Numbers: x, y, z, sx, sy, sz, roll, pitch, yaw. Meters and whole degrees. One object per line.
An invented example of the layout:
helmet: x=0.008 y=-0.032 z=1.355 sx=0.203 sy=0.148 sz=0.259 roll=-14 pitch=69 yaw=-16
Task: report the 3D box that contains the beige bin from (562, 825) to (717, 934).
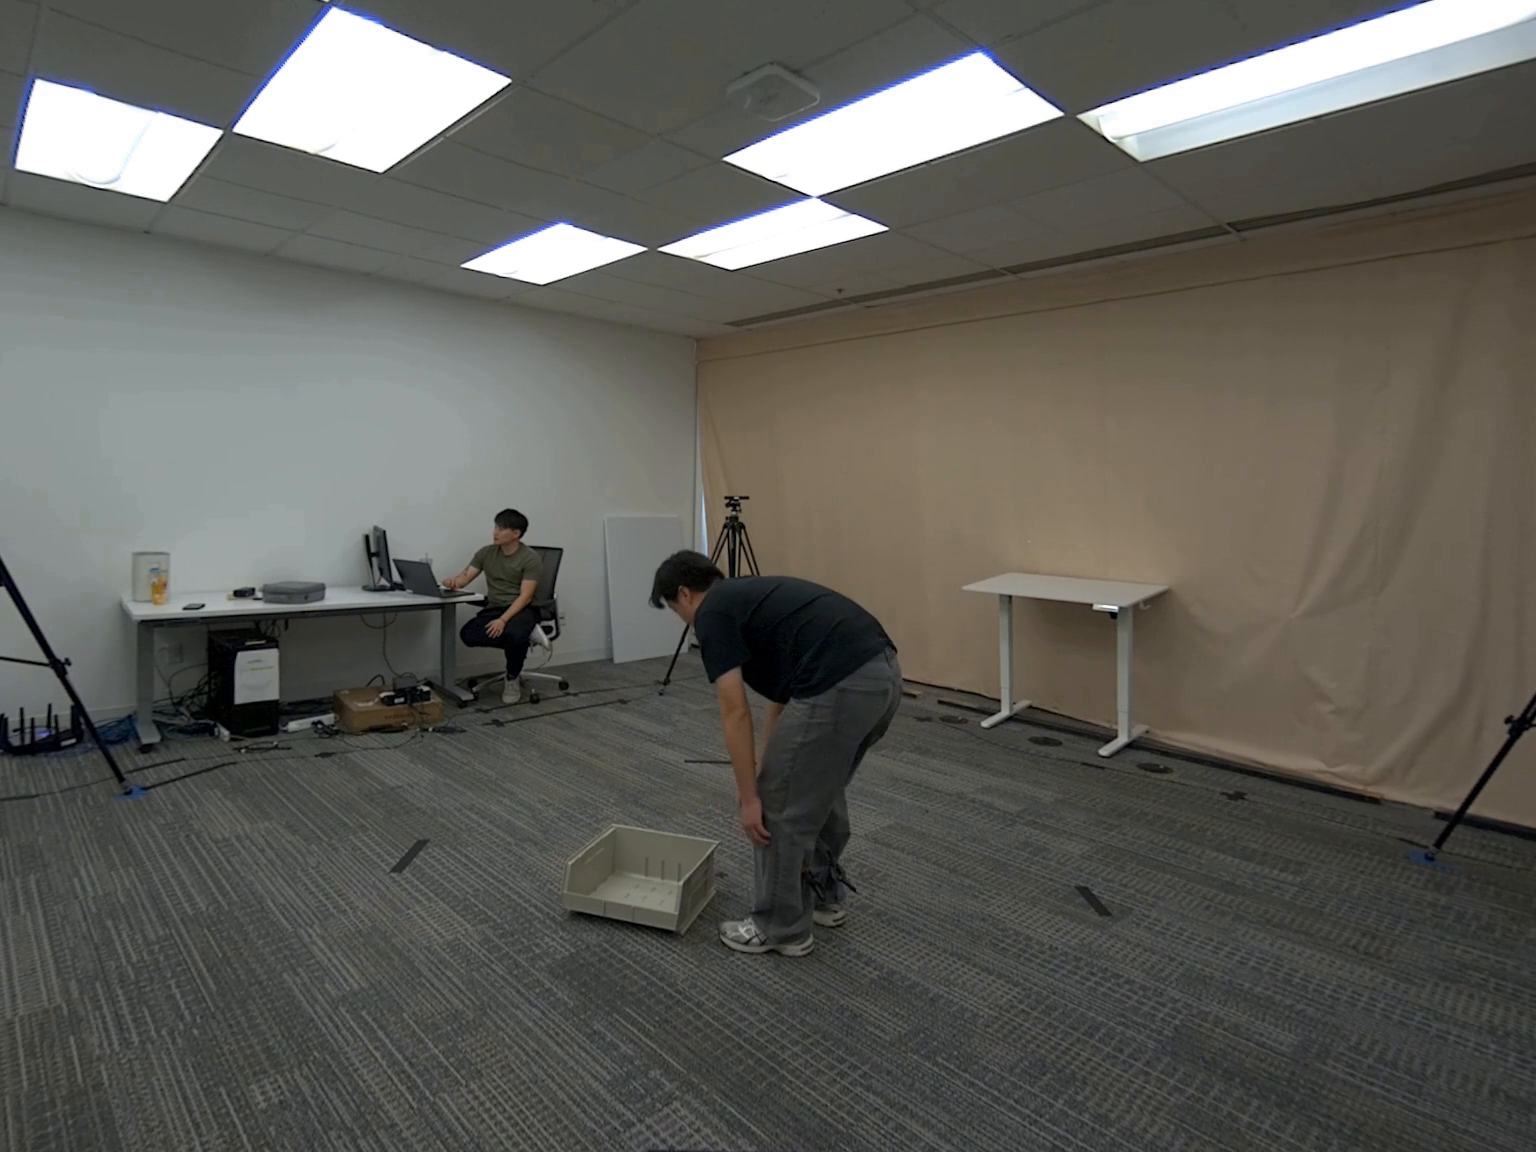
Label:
beige bin: x=-0.430 y=1.031 z=2.859 sx=0.428 sy=0.188 sz=0.372 roll=3 pitch=4 yaw=18
